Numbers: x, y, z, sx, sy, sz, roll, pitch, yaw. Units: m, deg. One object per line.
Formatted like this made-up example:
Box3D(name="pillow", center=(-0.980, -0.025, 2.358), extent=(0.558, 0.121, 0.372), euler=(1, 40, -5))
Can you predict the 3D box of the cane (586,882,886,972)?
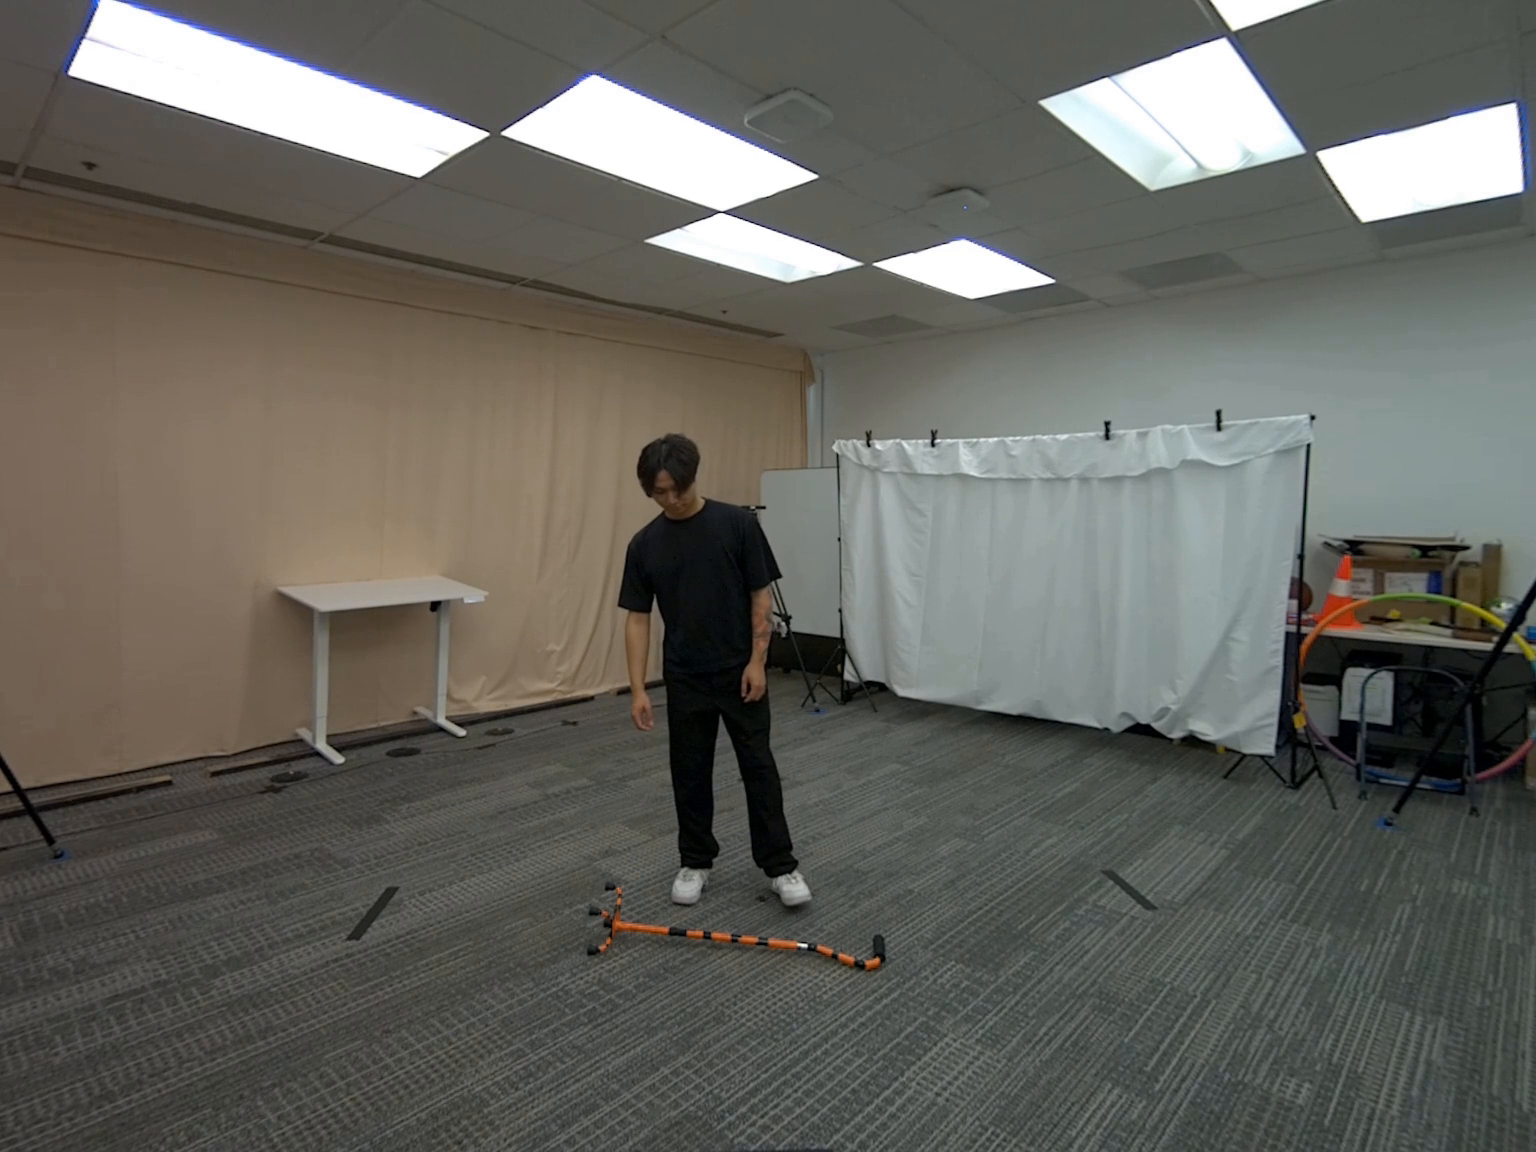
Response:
Box3D(name="cane", center=(-0.090, 1.120, 2.633), extent=(0.917, 0.151, 0.205), euler=(4, 5, 8))
